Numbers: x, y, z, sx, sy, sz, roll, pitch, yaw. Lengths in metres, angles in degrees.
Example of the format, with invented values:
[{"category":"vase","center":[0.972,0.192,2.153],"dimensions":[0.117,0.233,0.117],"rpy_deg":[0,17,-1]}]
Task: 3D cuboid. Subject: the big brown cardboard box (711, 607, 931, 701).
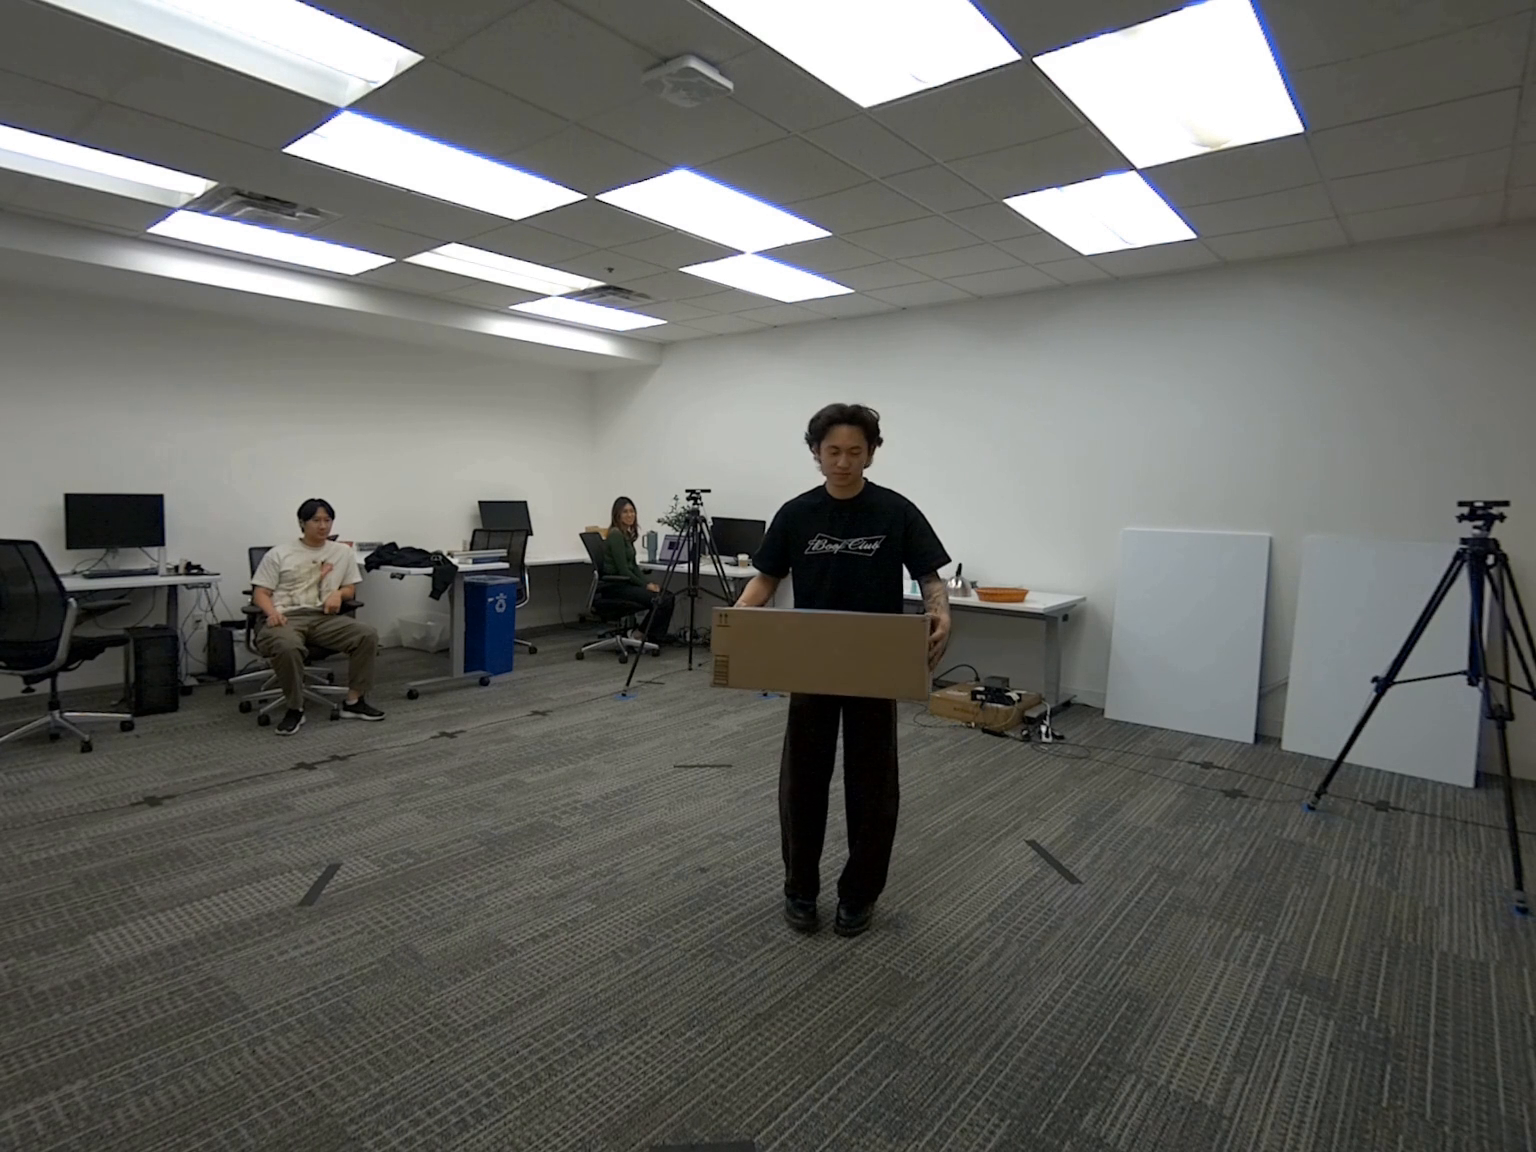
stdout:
[{"category":"big brown cardboard box","center":[0.152,0.208,2.416],"dimensions":[0.599,0.234,0.409],"rpy_deg":[3,-3,15]}]
